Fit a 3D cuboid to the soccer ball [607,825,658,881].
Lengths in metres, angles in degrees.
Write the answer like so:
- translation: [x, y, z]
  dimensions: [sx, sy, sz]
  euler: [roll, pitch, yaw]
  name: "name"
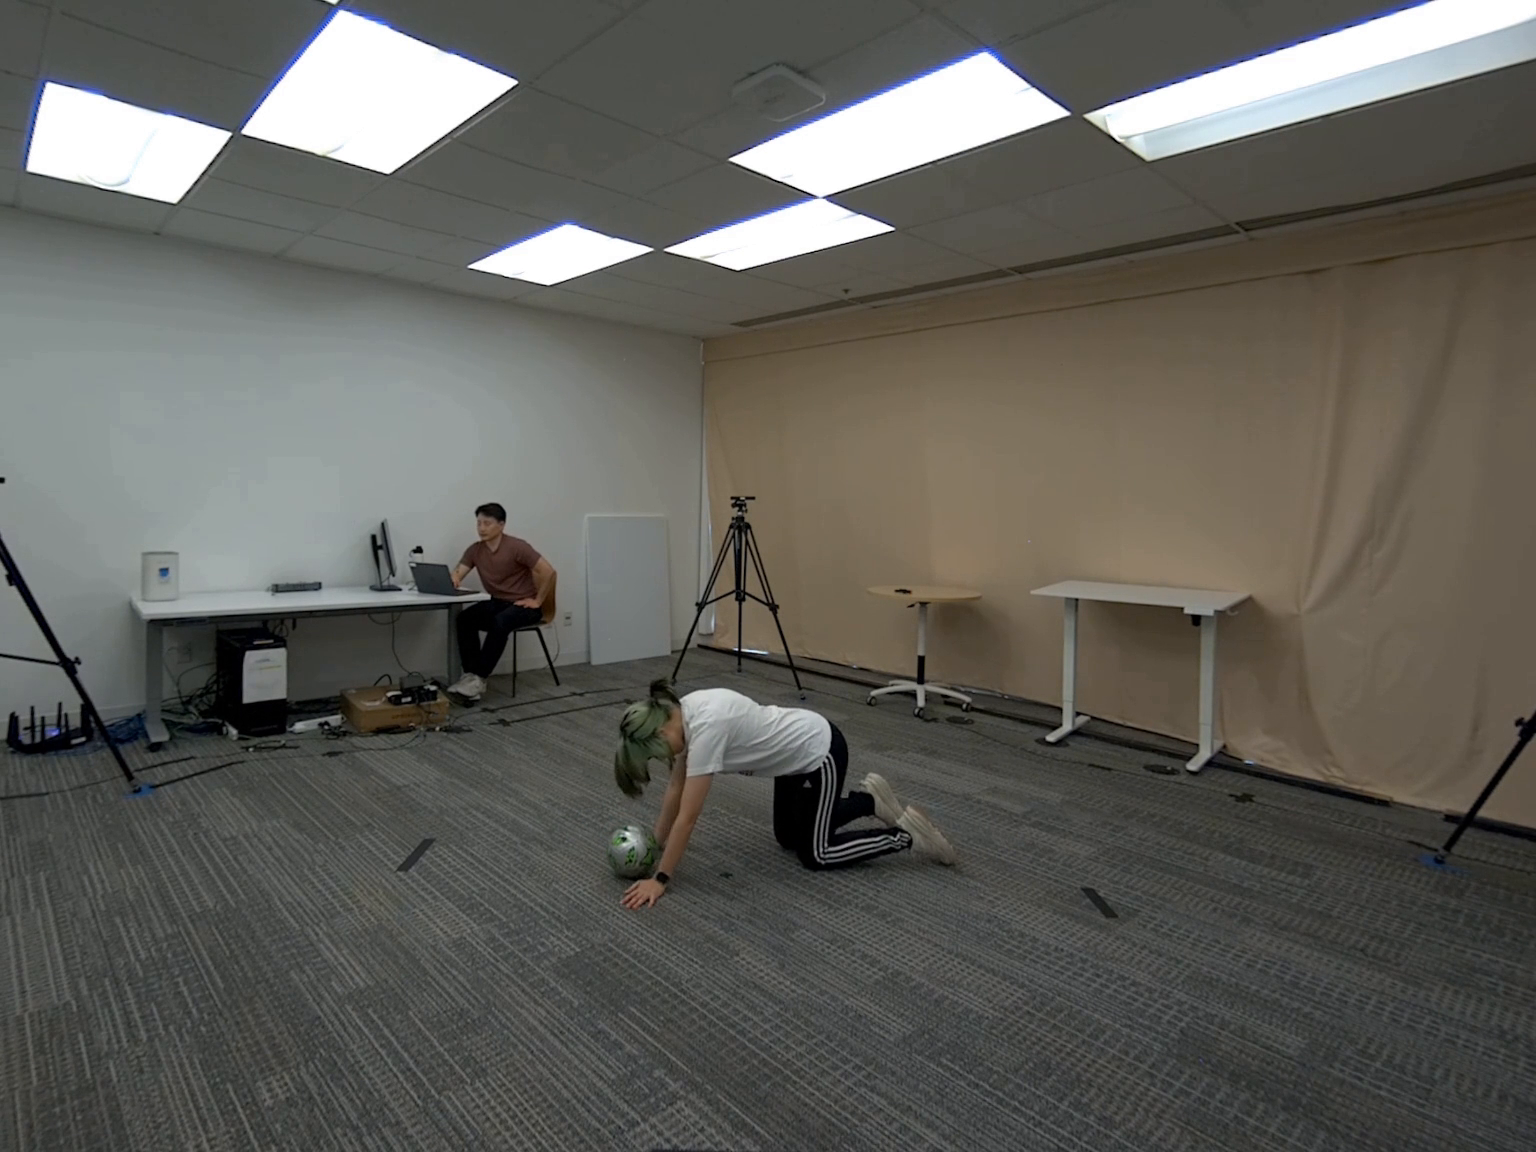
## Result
- translation: [-0.502, 1.005, 3.081]
  dimensions: [0.187, 0.187, 0.188]
  euler: [1, 4, -1]
  name: "soccer ball"
